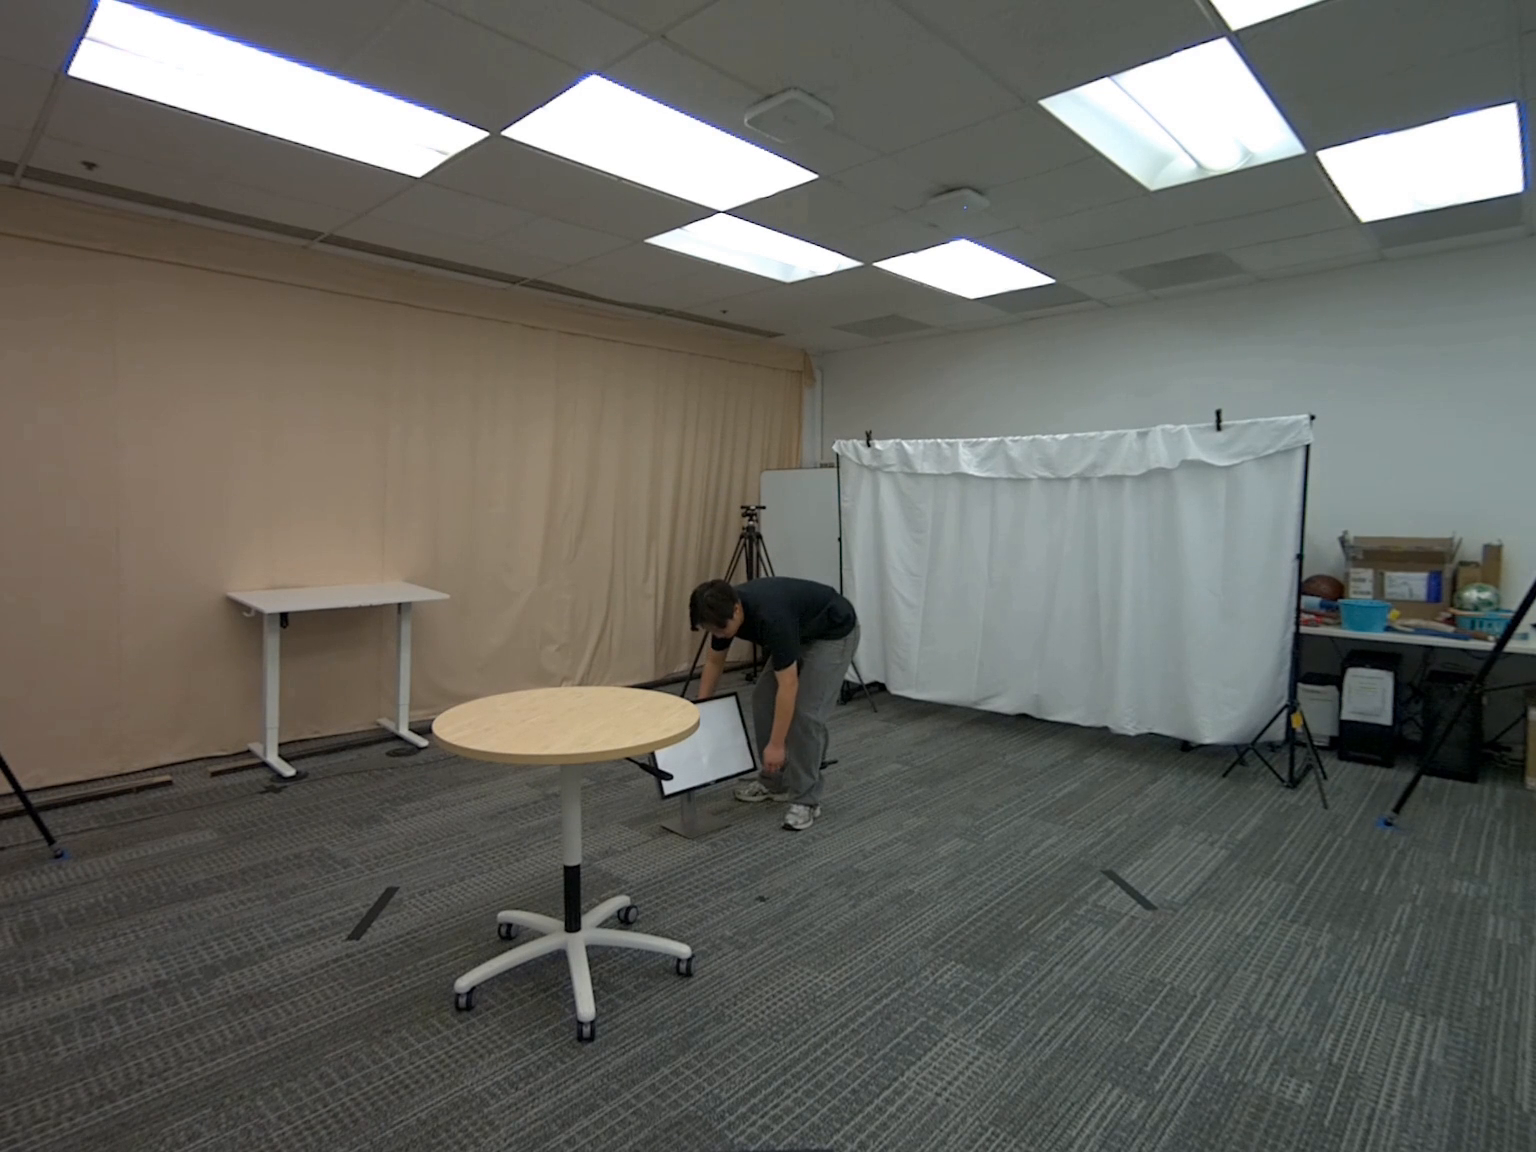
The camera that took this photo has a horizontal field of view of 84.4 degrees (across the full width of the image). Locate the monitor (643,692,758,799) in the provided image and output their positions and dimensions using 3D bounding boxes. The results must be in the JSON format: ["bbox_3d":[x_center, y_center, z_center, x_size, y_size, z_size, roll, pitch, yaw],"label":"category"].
[{"bbox_3d":[-0.317,0.830,3.662,0.229,0.565,0.544,1,3,44],"label":"monitor"}]
